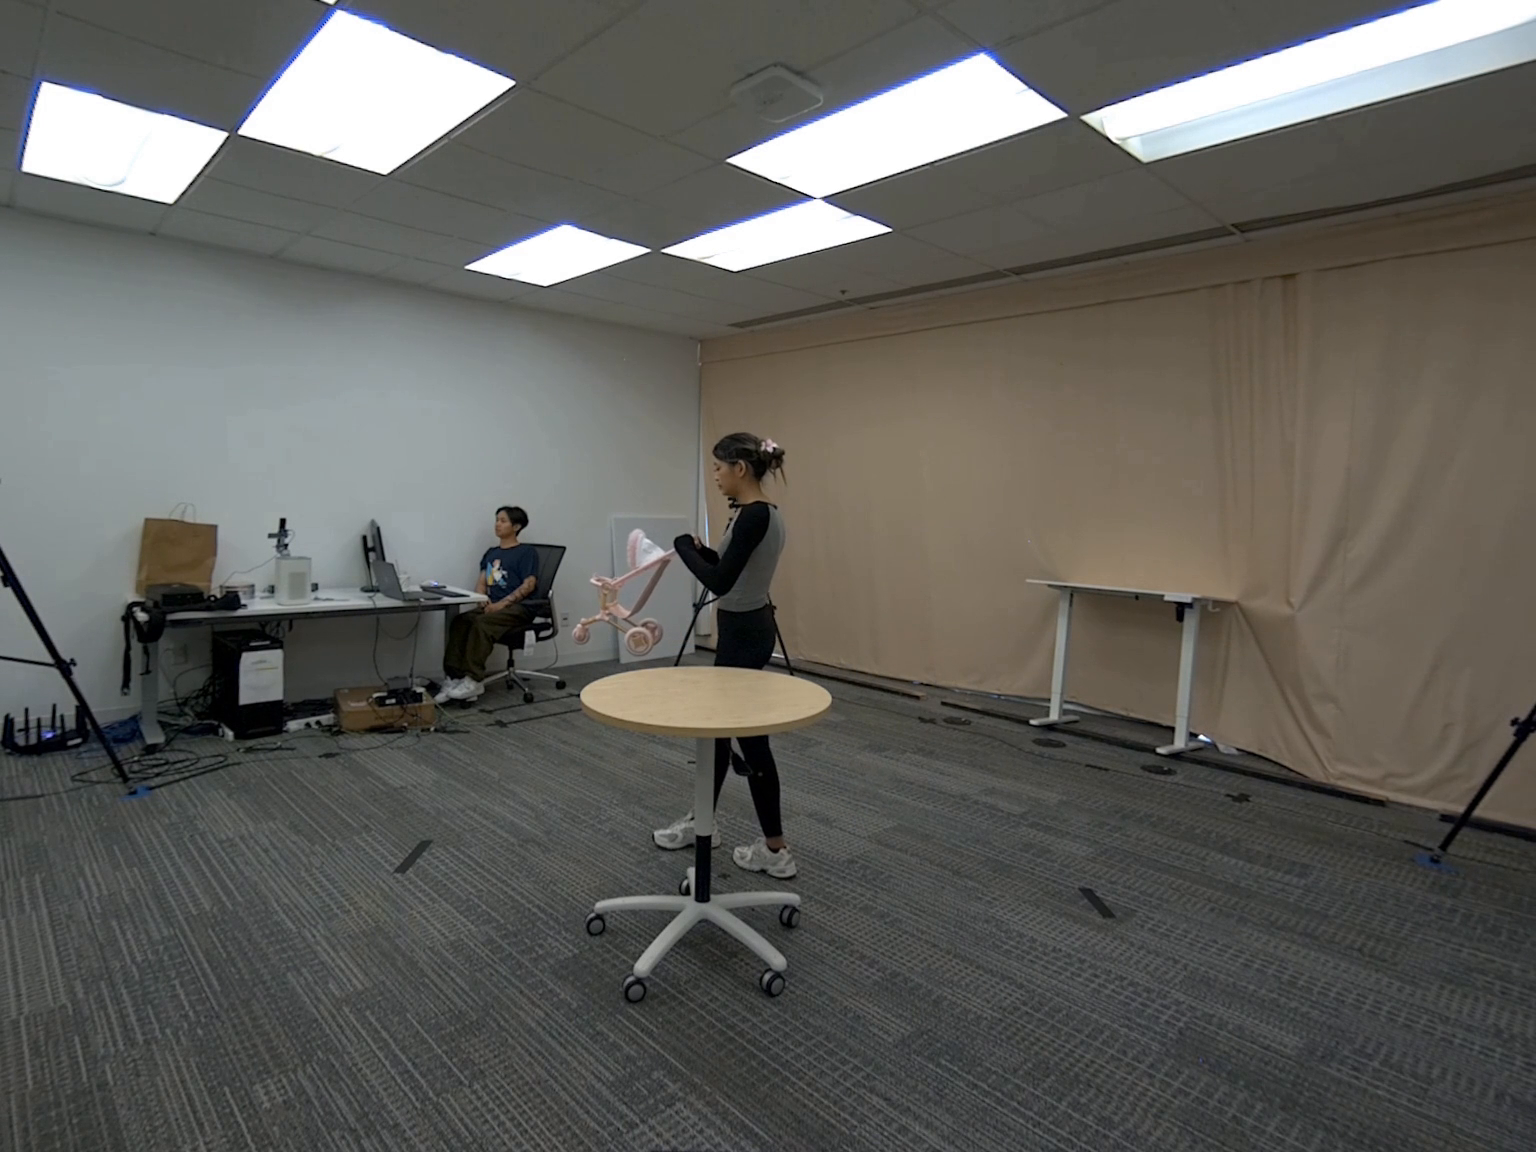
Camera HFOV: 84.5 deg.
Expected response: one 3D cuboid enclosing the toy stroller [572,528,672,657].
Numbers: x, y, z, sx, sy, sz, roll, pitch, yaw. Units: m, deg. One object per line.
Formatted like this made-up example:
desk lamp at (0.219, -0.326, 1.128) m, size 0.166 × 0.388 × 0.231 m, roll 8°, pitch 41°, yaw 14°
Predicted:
toy stroller at (-0.538, 0.057, 3.268) m, size 0.344 × 0.534 × 0.280 m, roll 19°, pitch 4°, yaw 6°
